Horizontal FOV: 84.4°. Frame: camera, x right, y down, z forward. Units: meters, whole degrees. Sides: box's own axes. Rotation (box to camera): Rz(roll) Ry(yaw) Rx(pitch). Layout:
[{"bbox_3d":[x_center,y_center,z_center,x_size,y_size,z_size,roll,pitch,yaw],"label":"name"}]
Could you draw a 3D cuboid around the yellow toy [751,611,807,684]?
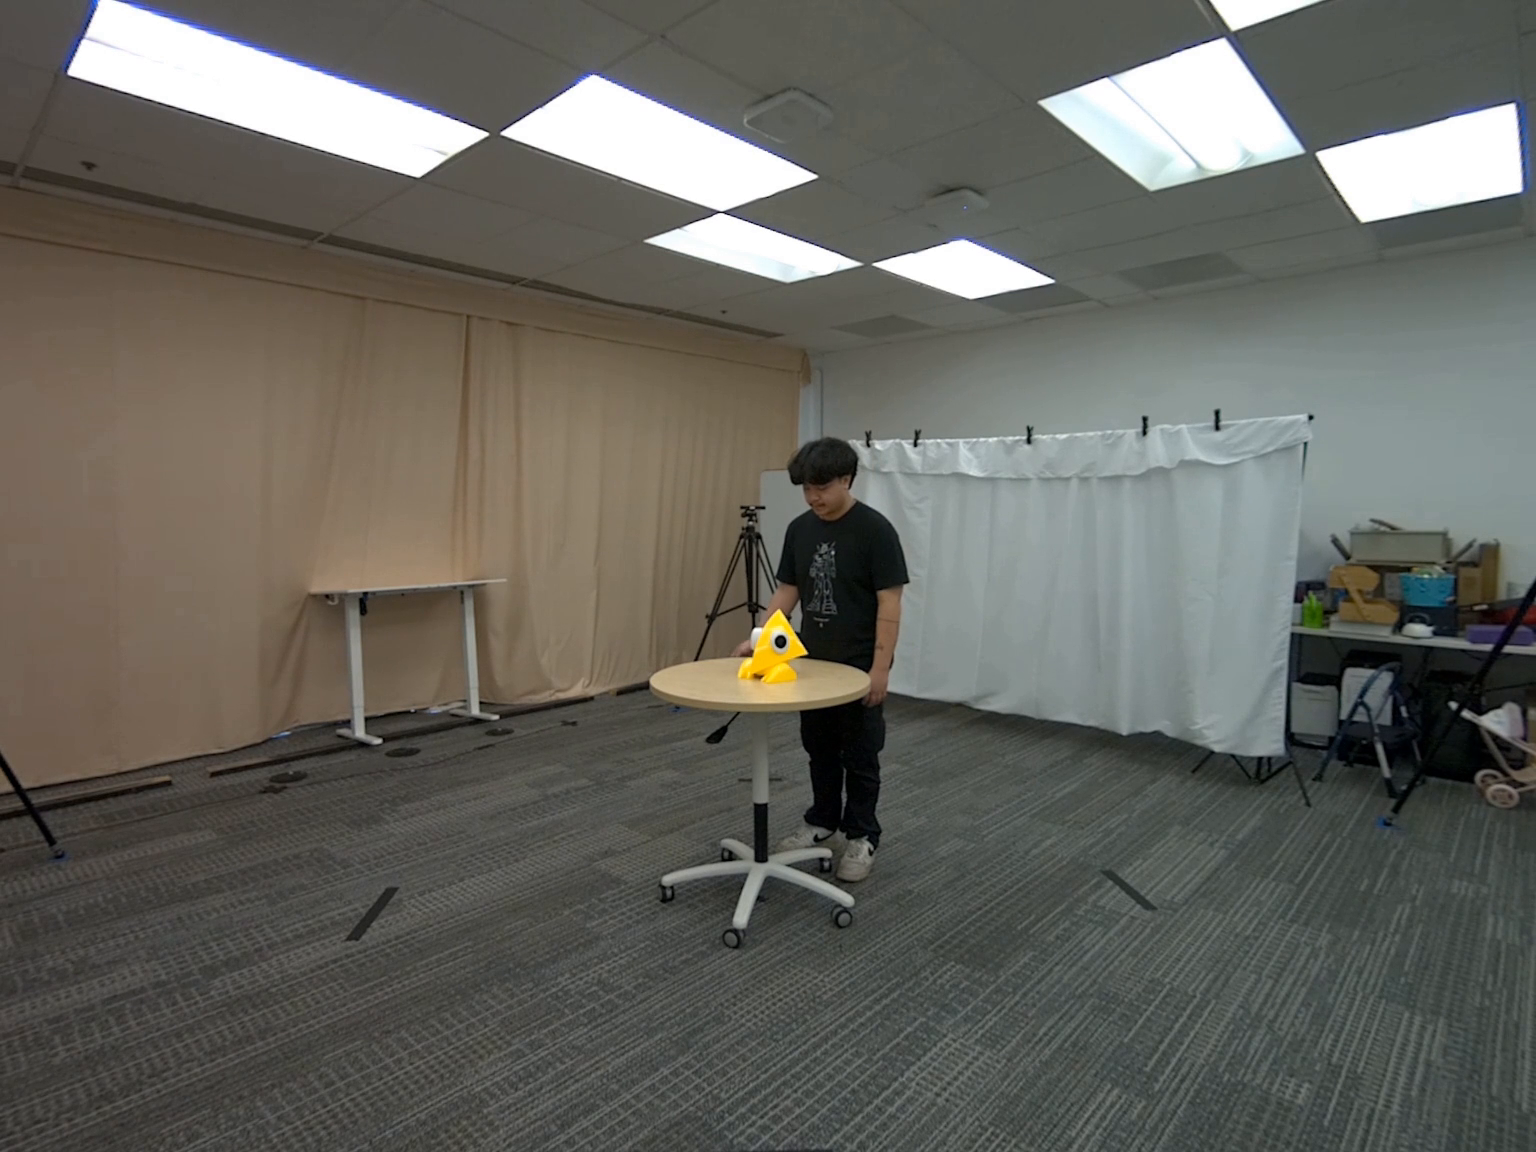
[{"bbox_3d":[0.002,0.237,2.944,0.211,0.230,0.187,3,6,41],"label":"yellow toy"}]
